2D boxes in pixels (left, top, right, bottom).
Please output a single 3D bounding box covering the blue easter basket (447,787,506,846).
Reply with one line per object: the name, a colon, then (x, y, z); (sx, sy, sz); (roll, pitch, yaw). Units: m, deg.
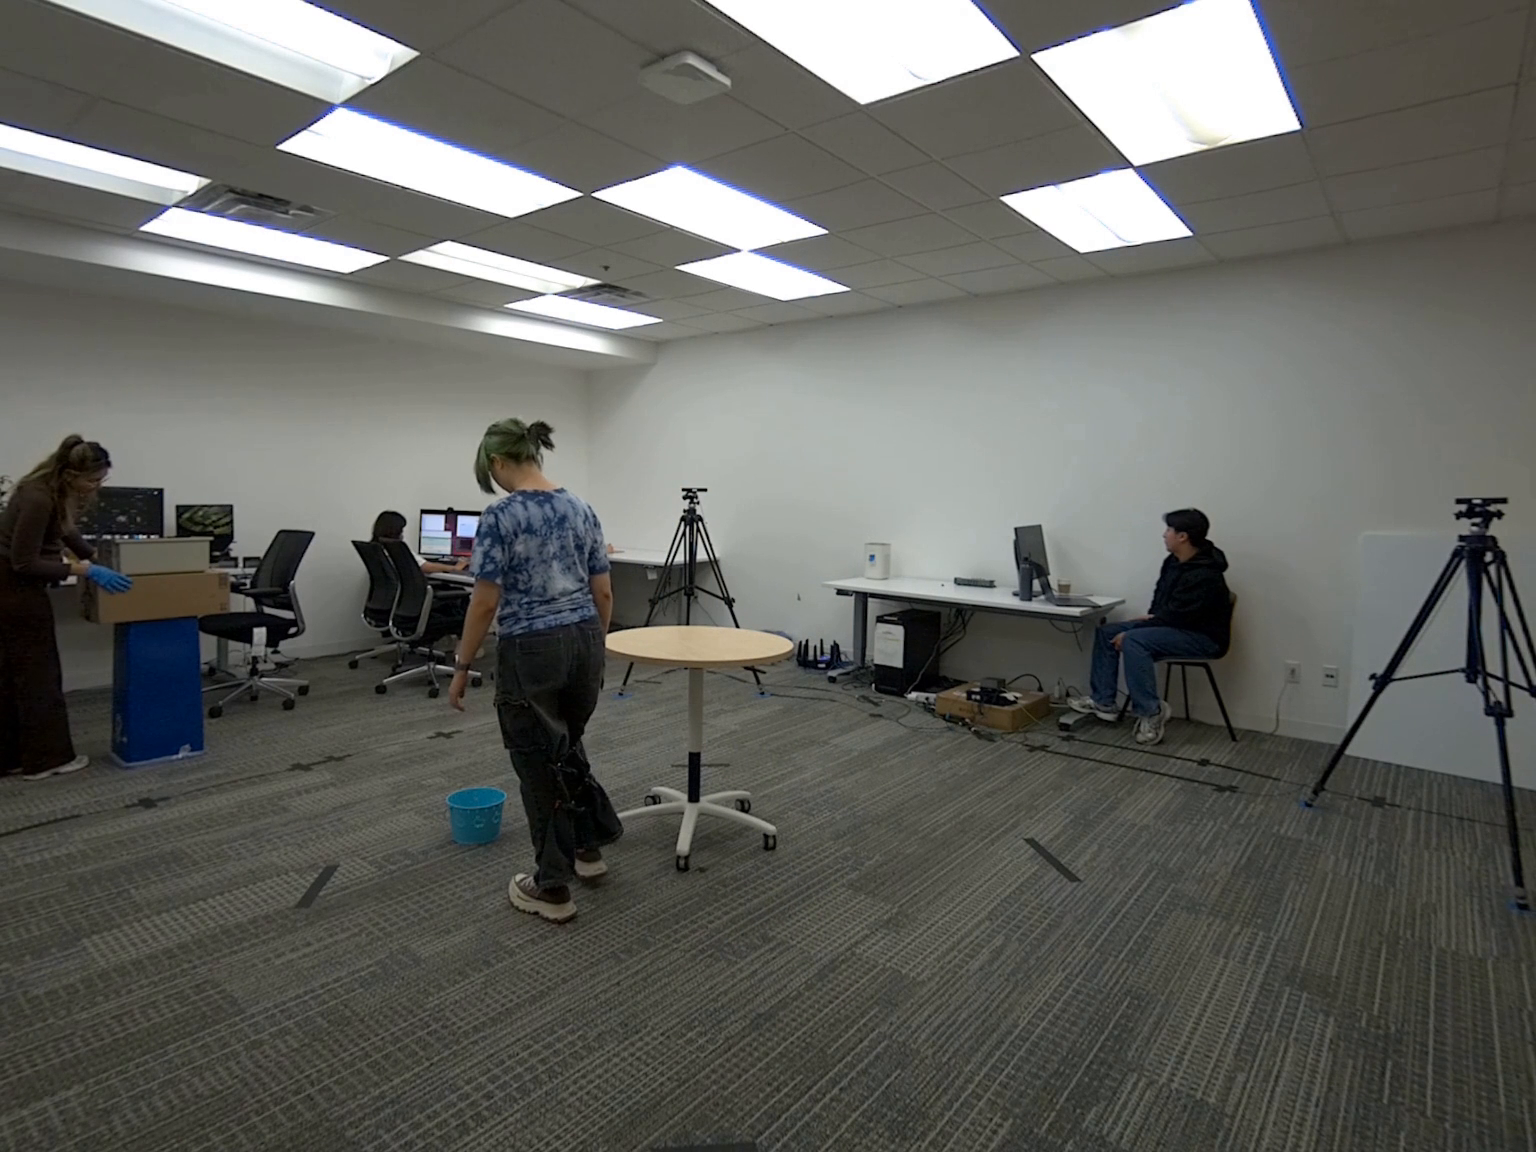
blue easter basket: (-1.173, 0.951, 3.385); (0.243, 0.155, 0.245); (1, 5, -2)
